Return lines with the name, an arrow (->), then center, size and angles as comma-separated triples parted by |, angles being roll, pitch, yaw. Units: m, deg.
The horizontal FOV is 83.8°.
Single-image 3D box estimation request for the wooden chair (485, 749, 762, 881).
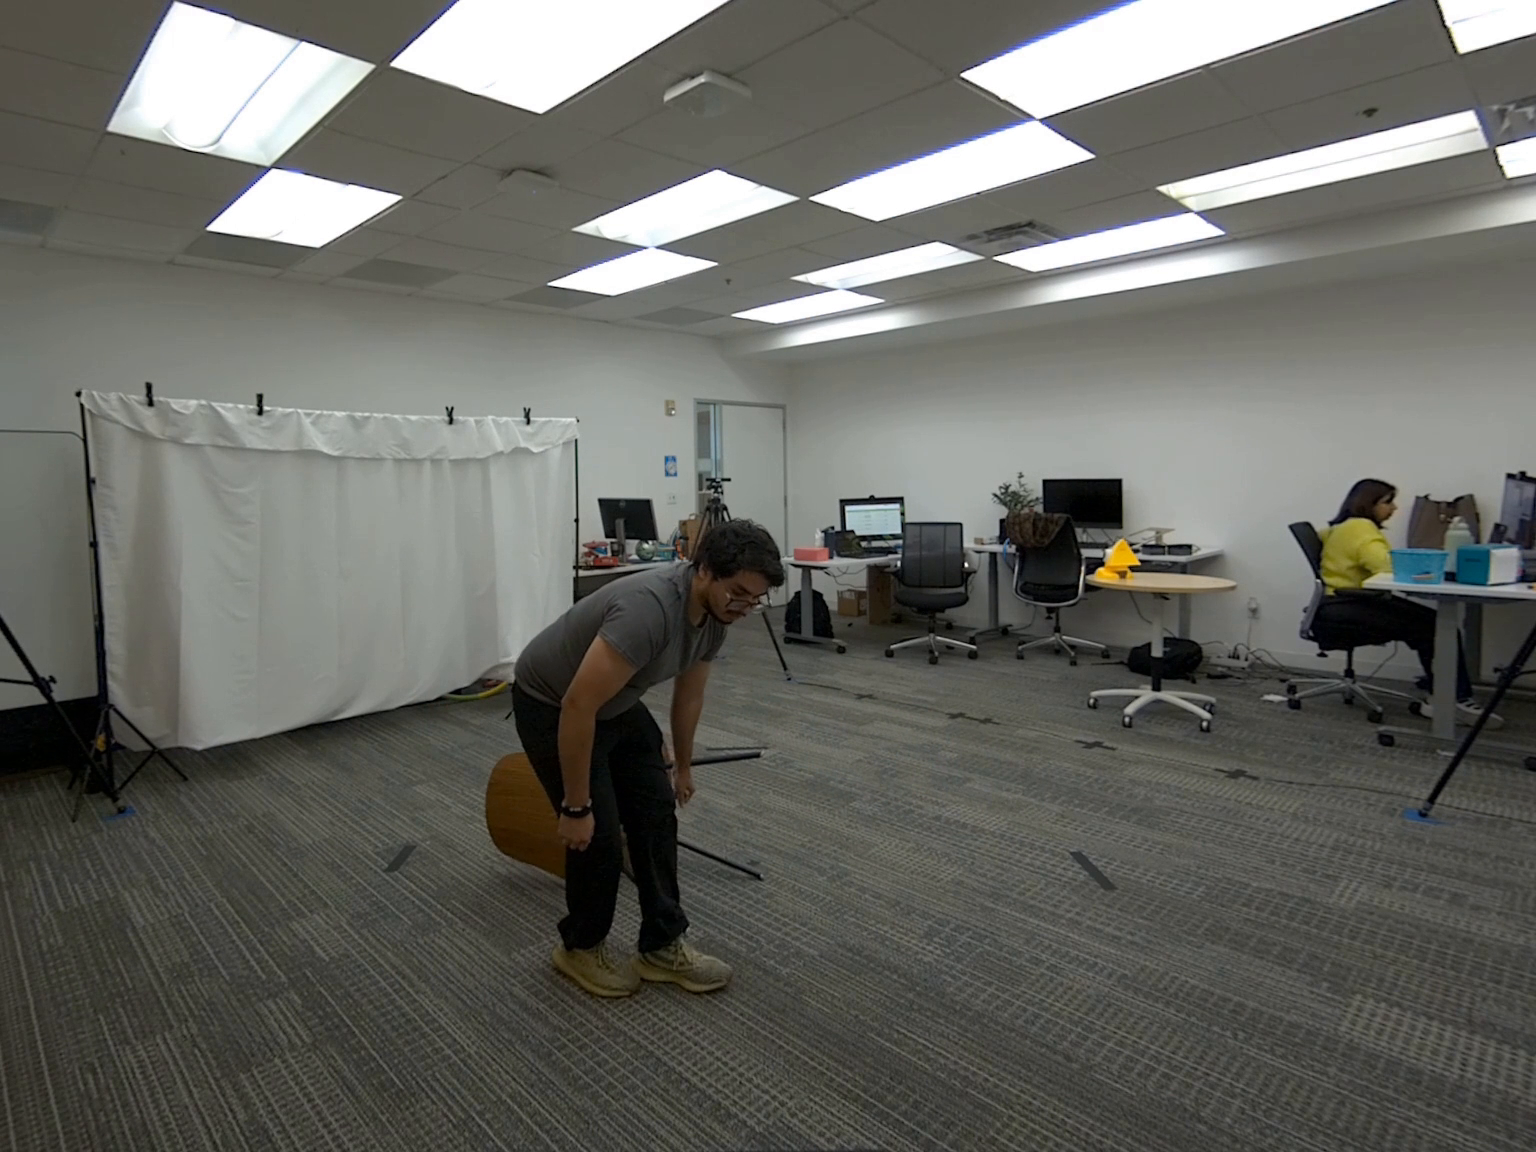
wooden chair -> -0.491, 0.828, 3.024 | 0.899, 0.476, 0.513 | 2, 6, 28
